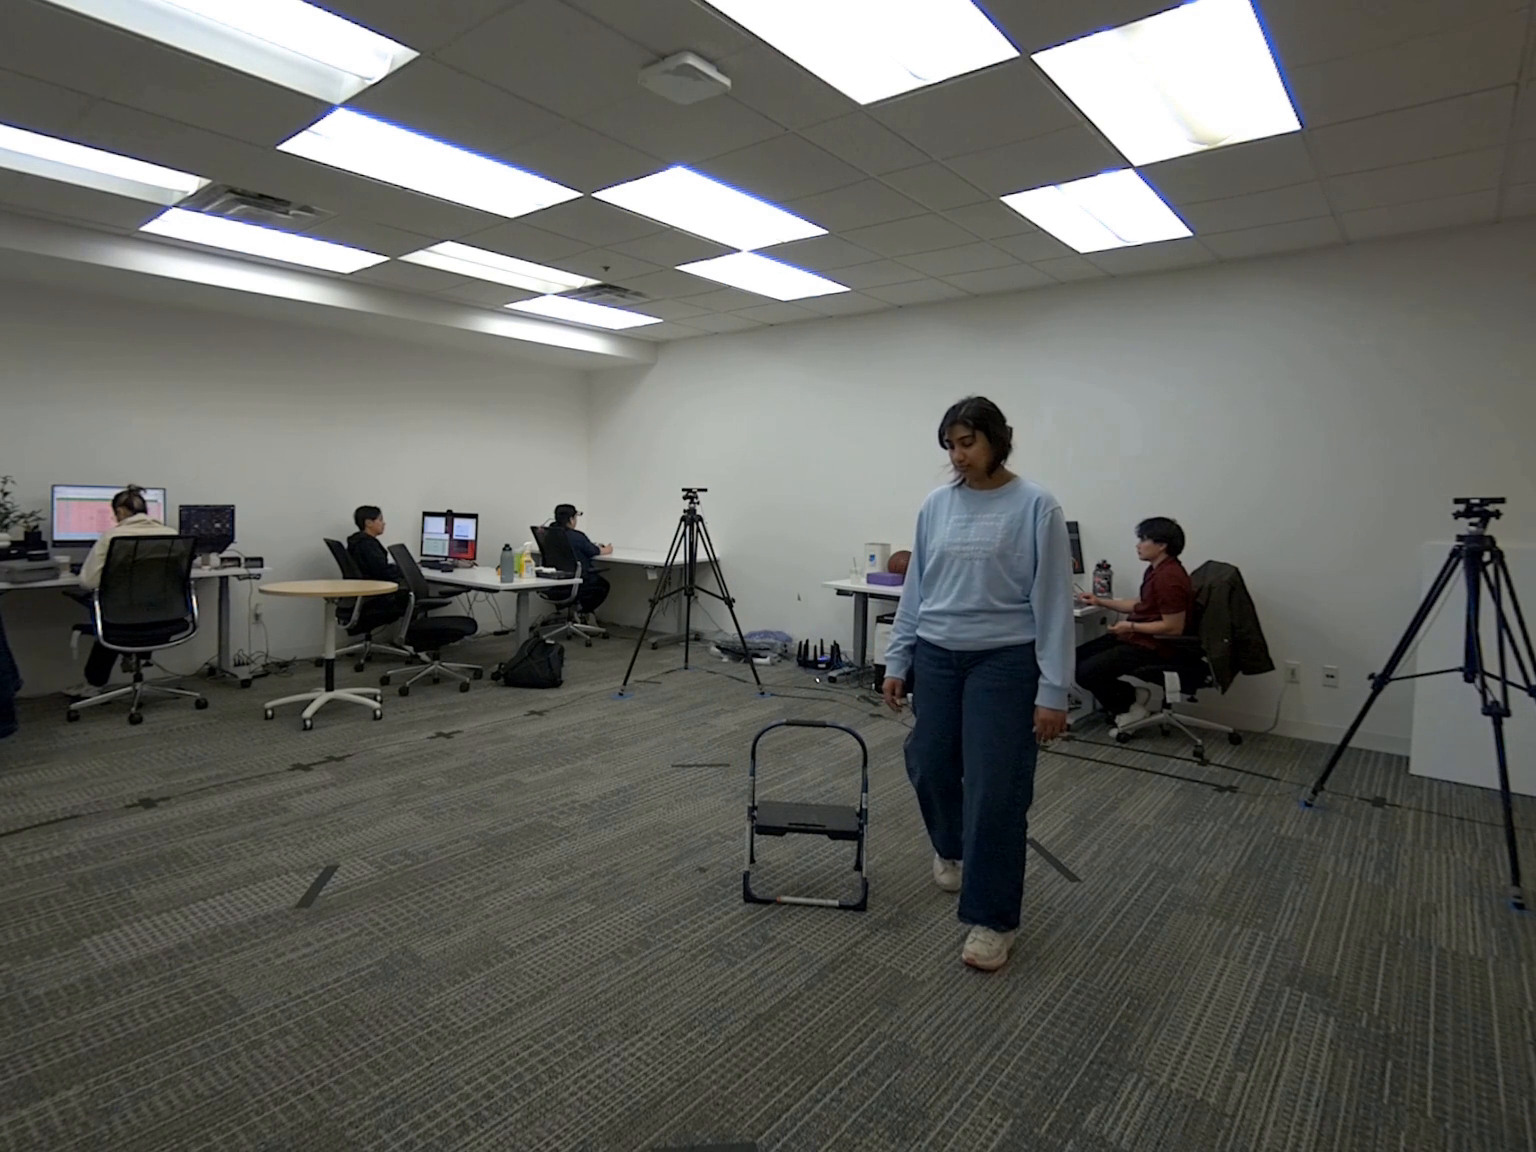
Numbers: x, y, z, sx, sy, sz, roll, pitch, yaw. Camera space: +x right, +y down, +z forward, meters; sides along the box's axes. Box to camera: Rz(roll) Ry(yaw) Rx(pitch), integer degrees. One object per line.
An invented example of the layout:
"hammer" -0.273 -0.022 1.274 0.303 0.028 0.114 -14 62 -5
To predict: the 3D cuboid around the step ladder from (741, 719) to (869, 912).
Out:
"step ladder" 0.128 0.784 2.992 0.433 0.604 0.348 2 3 4
